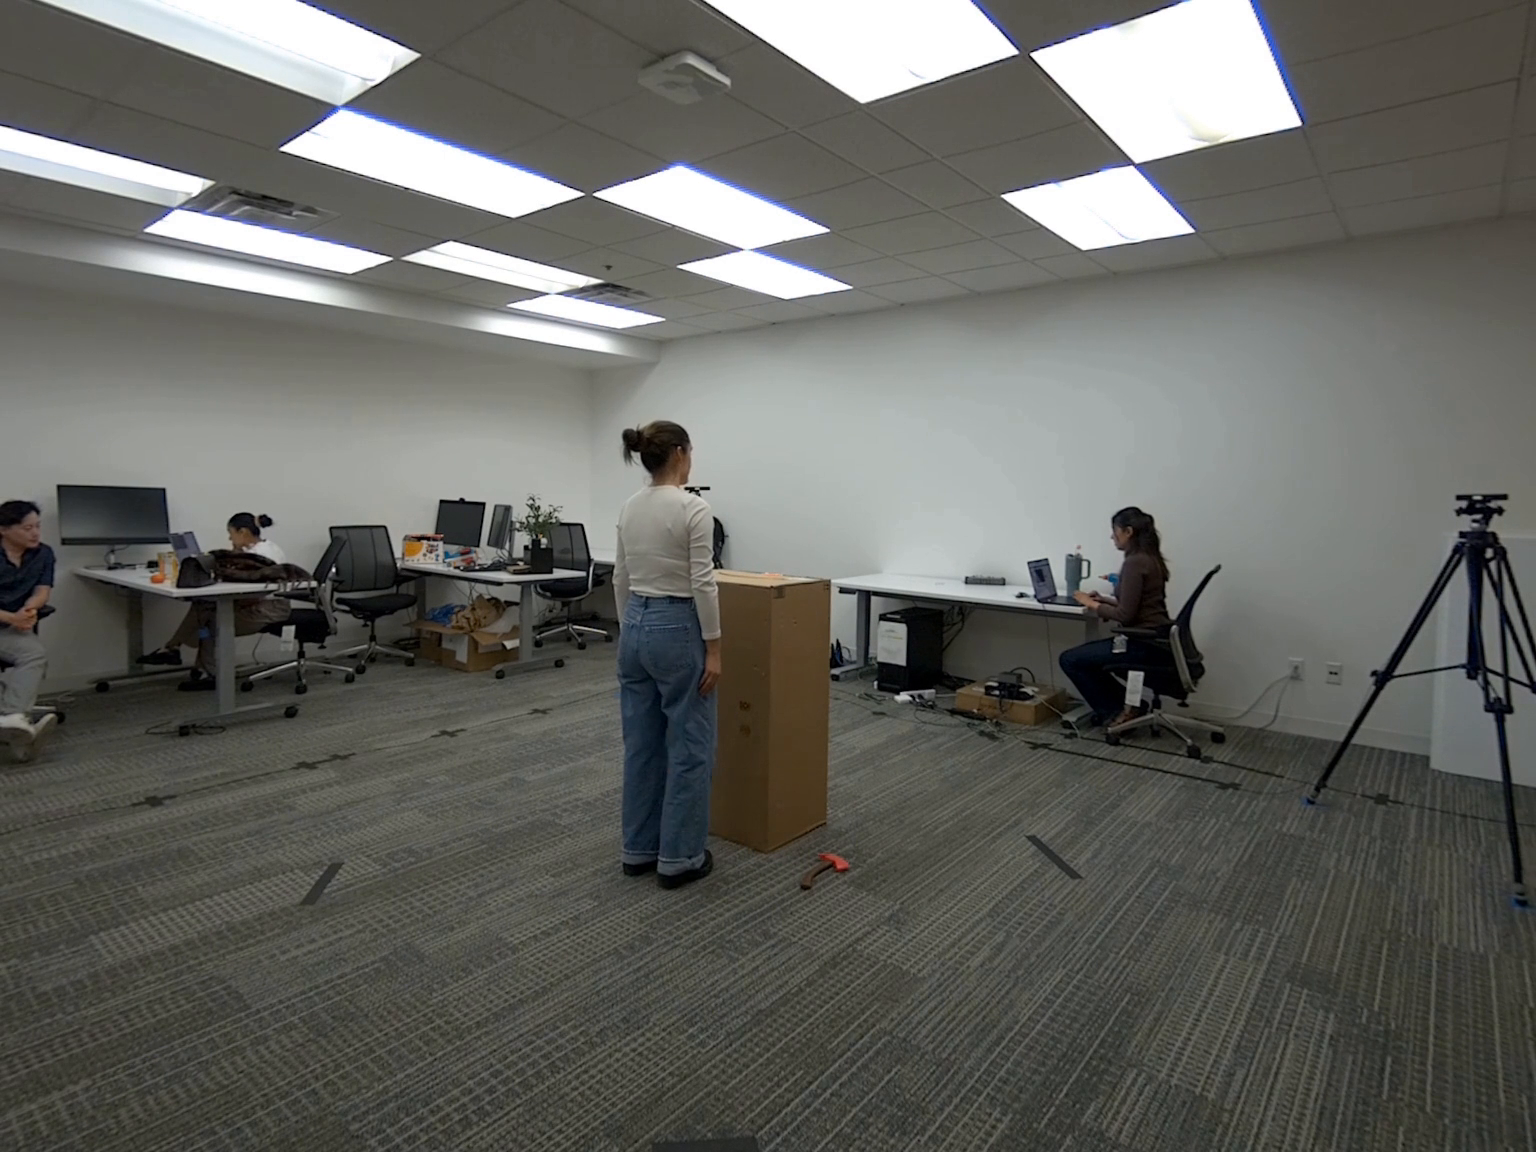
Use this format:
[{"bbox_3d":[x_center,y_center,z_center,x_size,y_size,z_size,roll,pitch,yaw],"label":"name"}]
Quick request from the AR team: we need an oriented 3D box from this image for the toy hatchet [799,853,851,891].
[{"bbox_3d":[0.202,1.068,3.055,0.134,0.029,0.265,6,9,20],"label":"toy hatchet"}]
